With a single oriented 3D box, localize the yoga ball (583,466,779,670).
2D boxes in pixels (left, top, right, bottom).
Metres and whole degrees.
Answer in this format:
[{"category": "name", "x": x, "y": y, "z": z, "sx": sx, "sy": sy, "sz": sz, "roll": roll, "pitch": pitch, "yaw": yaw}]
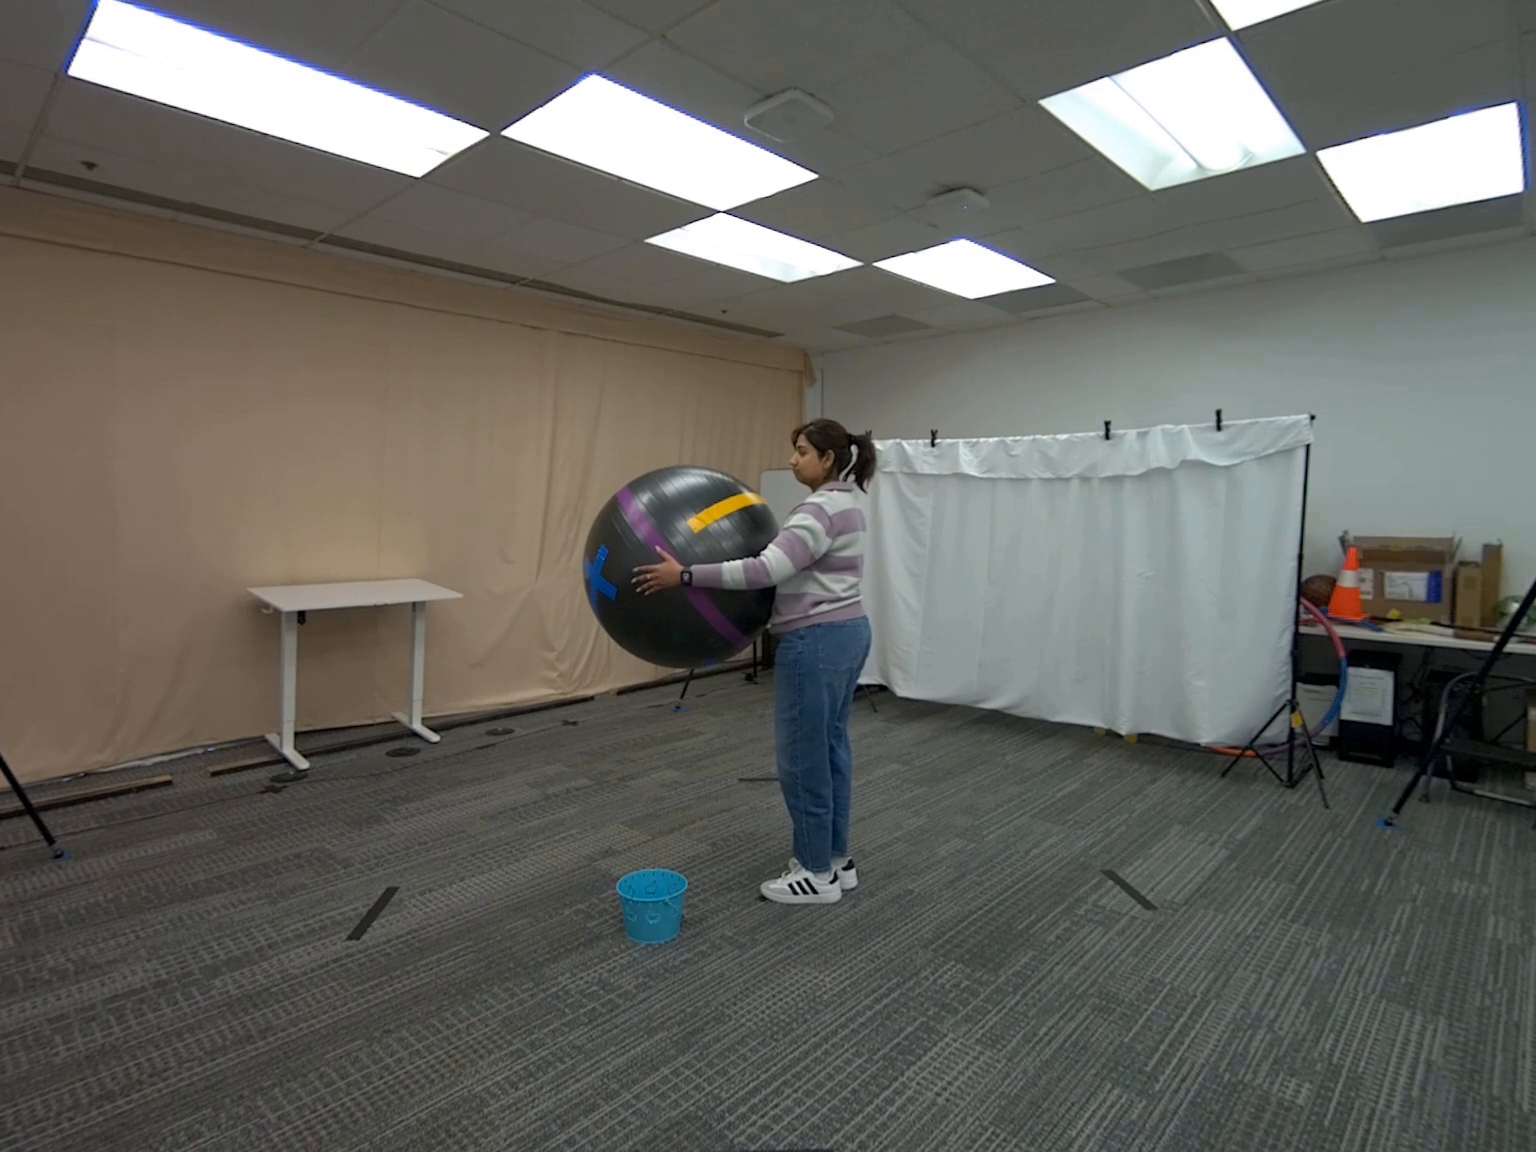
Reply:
[{"category": "yoga ball", "x": -0.309, "y": -0.027, "z": 3.166, "sx": 0.757, "sy": 0.756, "sz": 0.761, "roll": 0, "pitch": 4, "yaw": -2}]
